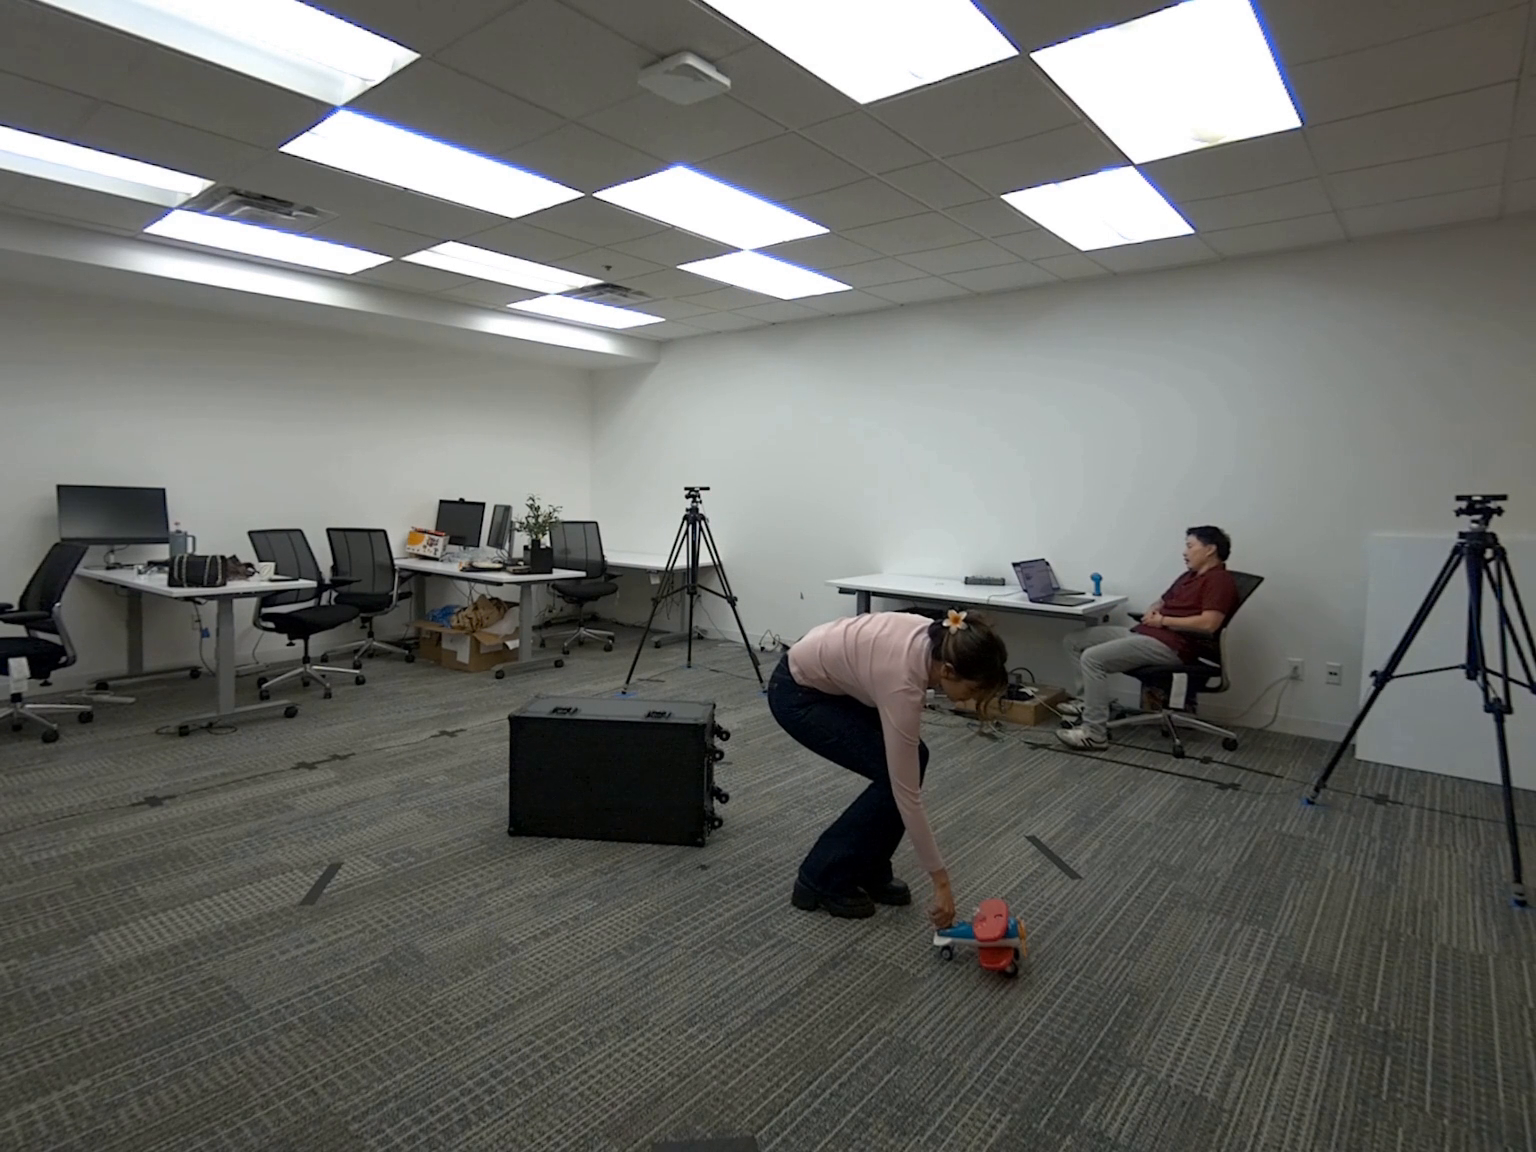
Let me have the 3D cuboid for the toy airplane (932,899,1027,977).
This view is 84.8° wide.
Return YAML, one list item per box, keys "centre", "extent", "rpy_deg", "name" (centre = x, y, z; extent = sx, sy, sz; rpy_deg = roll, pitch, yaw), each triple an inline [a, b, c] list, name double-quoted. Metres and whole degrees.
- centre: [0.626, 1.077, 2.490]
  extent: [0.256, 0.156, 0.255]
  rpy_deg: [1, 5, -11]
  name: "toy airplane"
